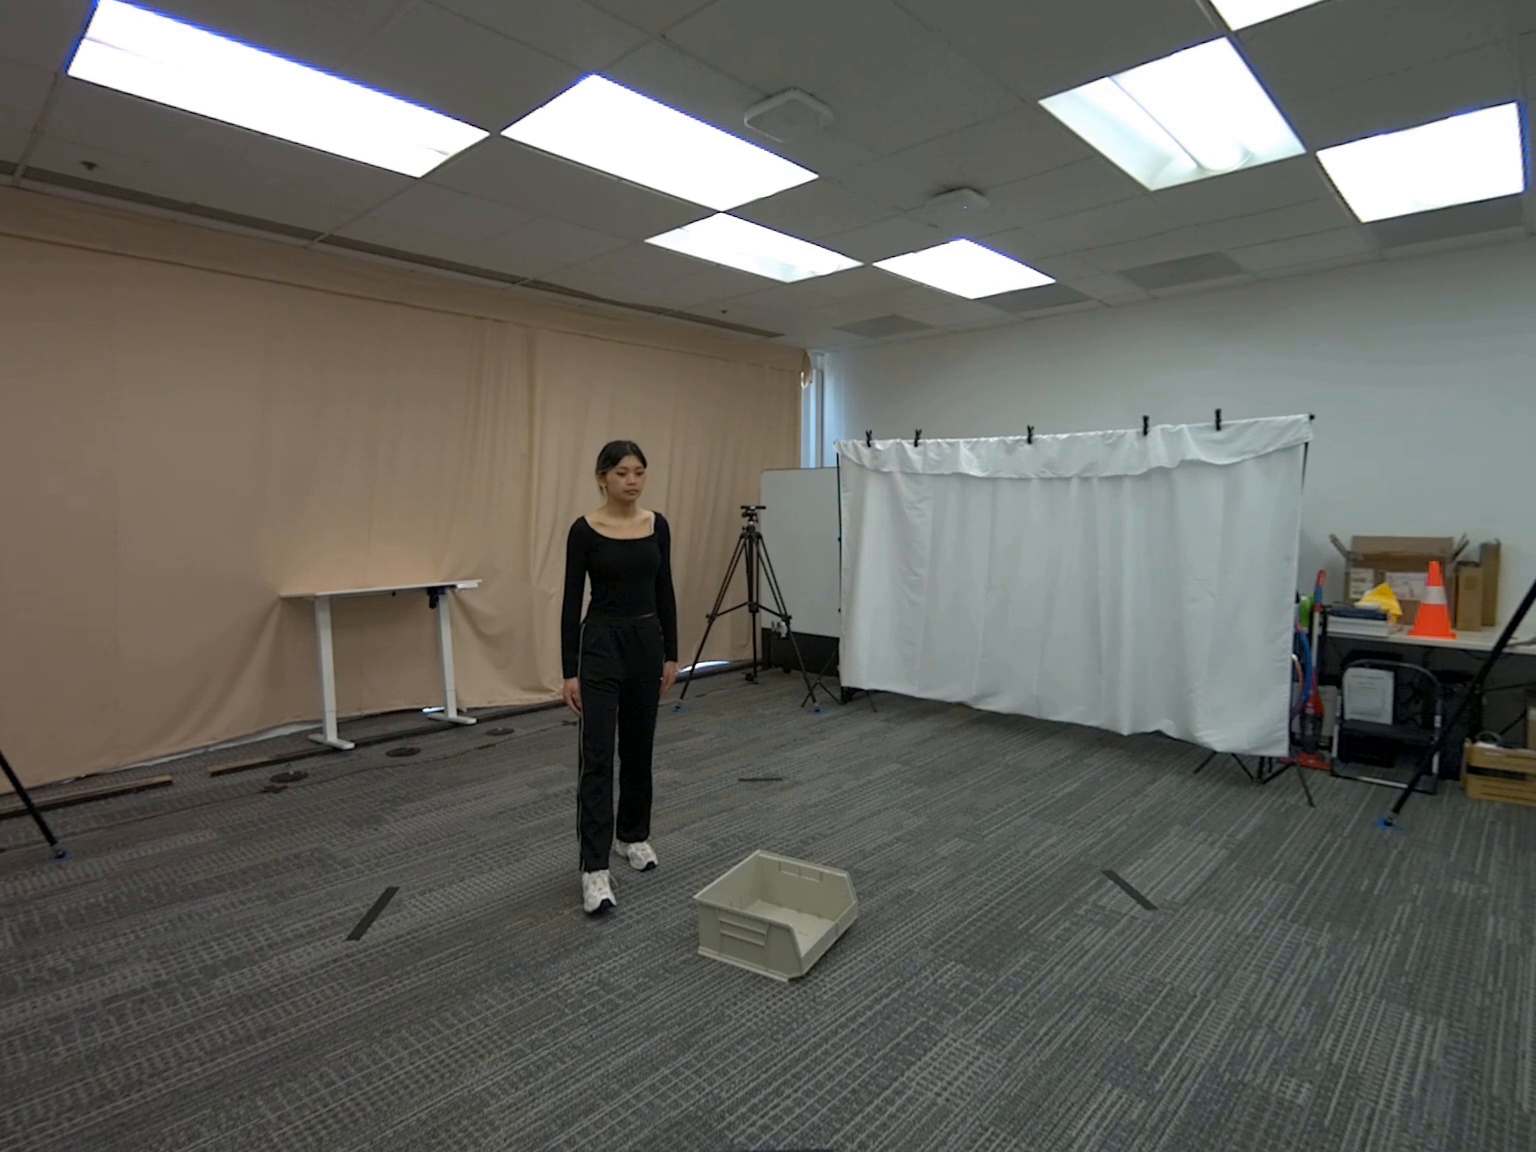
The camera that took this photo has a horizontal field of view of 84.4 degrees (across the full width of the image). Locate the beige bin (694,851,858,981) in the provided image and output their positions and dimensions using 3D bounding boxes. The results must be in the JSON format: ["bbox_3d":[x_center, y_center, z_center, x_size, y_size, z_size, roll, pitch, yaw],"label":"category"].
[{"bbox_3d":[0.035,1.082,2.695,0.388,0.188,0.411,1,5,30],"label":"beige bin"}]
